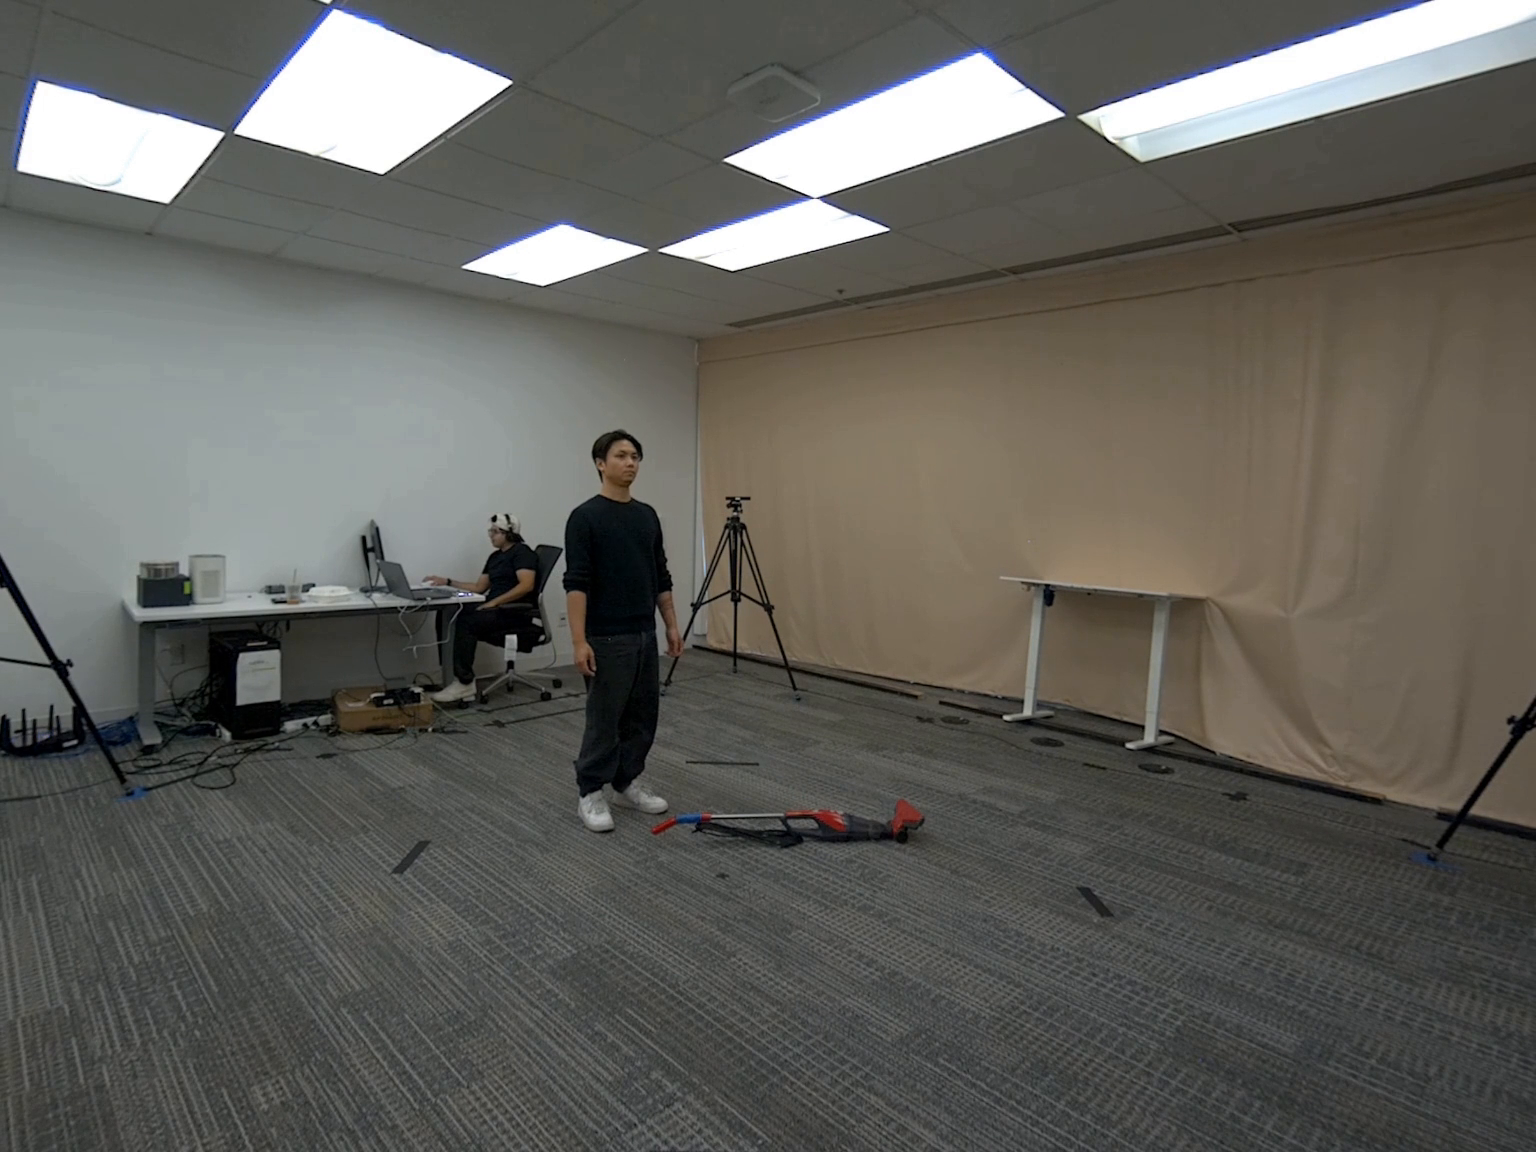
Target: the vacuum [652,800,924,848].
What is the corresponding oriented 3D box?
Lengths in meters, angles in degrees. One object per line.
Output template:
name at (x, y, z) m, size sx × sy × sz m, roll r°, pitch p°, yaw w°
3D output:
vacuum at (0.047, 1.018, 3.423) m, size 1.041 × 0.144 × 0.254 m, roll 0°, pitch 0°, yaw -9°
